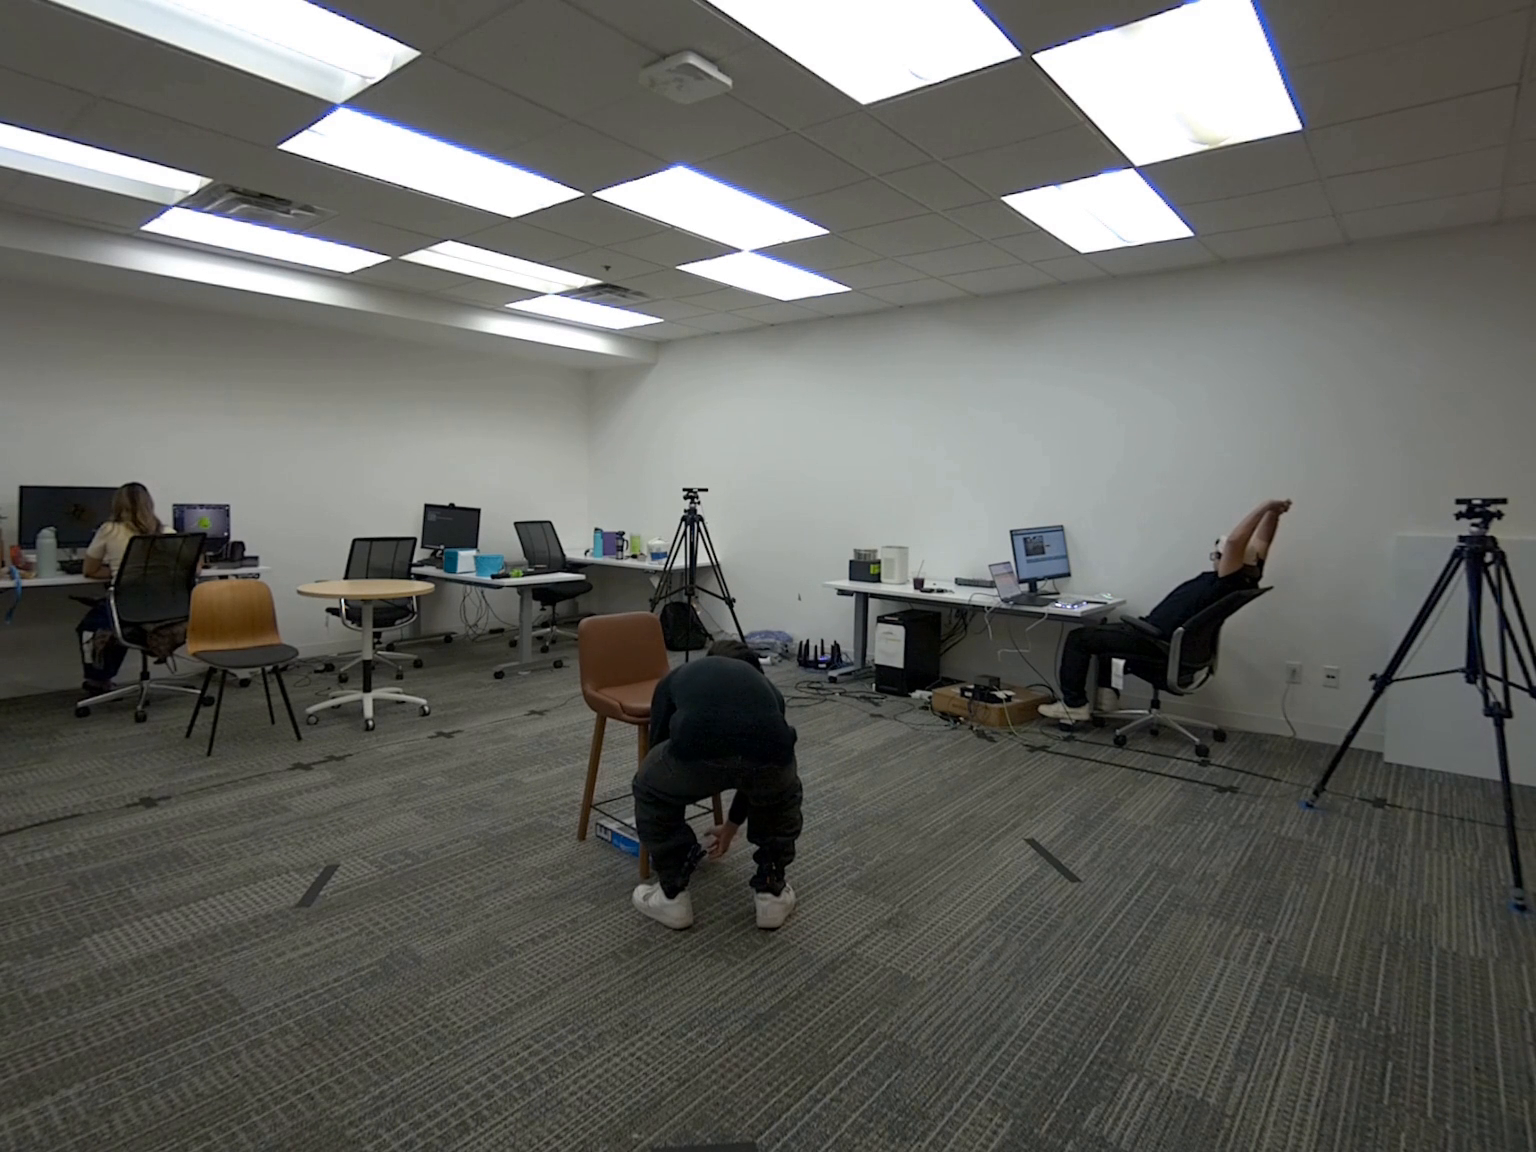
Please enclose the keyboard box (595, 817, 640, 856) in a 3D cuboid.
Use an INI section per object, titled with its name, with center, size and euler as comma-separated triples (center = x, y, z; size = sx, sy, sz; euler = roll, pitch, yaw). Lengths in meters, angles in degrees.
[keyboard box]
center = -0.479, 1.020, 3.296
size = 0.452, 0.059, 0.170
euler = 6, 5, 44
